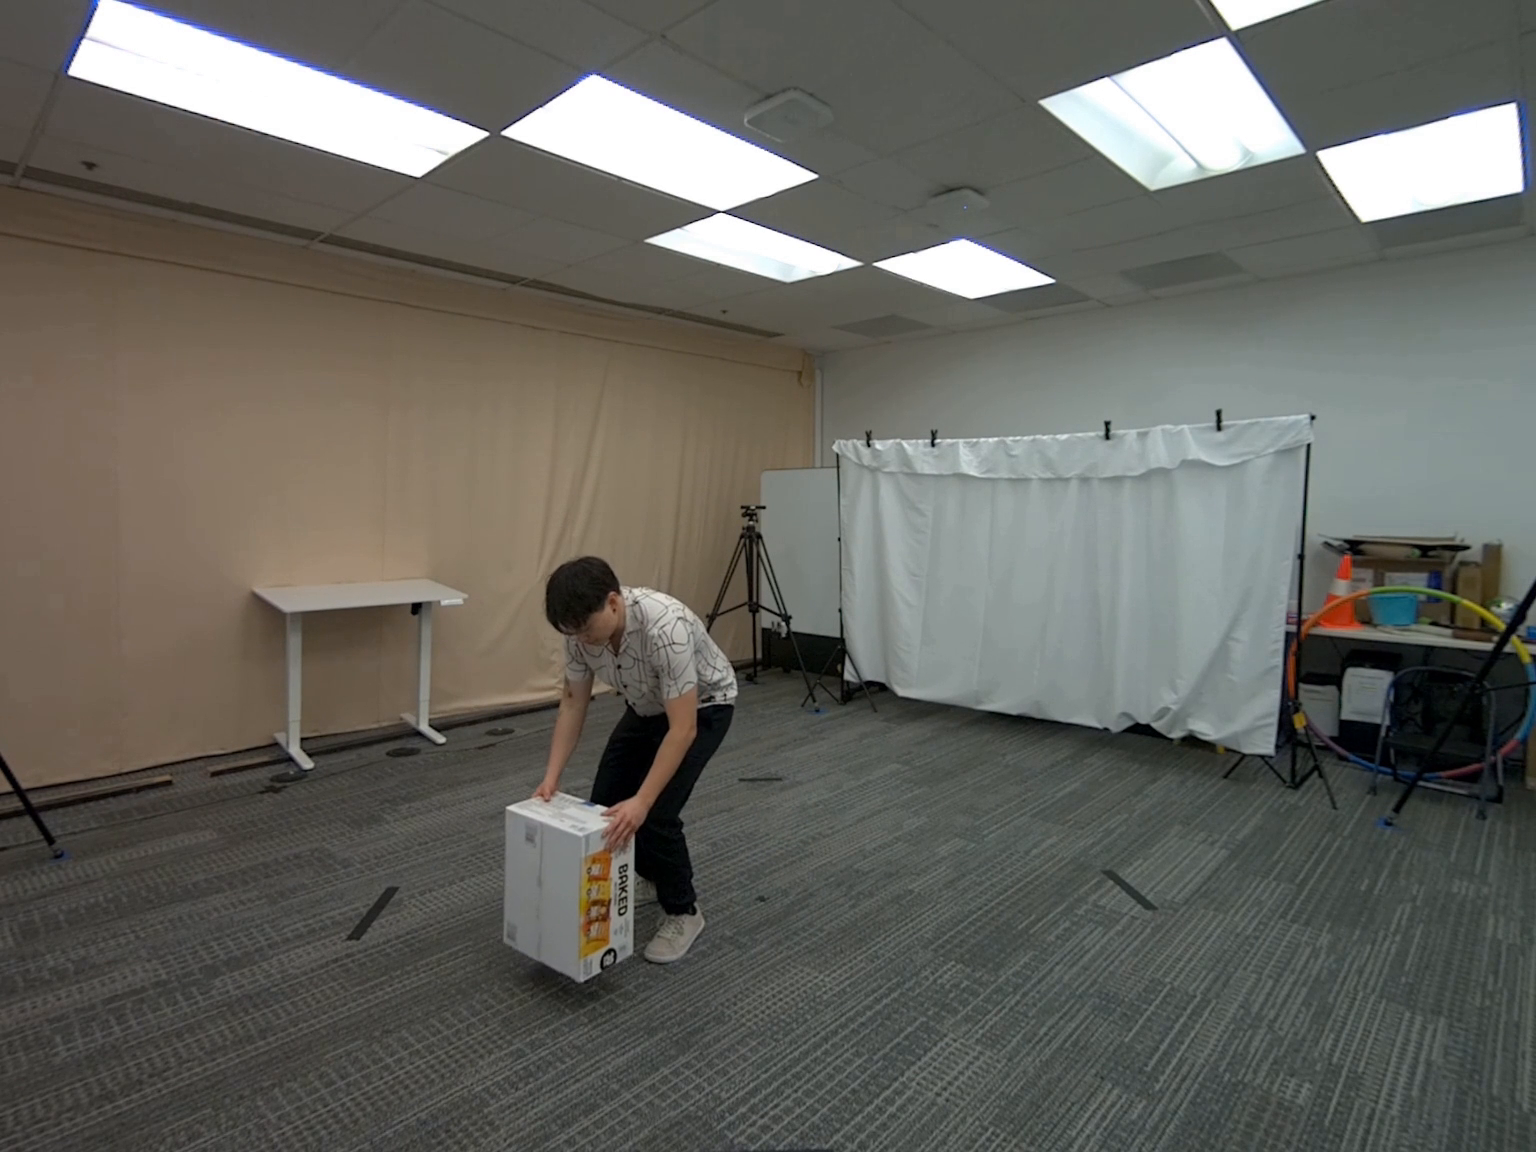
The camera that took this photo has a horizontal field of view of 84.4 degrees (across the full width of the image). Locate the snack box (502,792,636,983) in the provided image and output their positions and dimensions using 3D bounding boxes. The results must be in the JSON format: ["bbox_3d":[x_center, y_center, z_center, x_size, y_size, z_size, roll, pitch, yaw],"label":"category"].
[{"bbox_3d":[-0.578,0.884,2.445,0.351,0.404,0.199,3,3,37],"label":"snack box"}]
